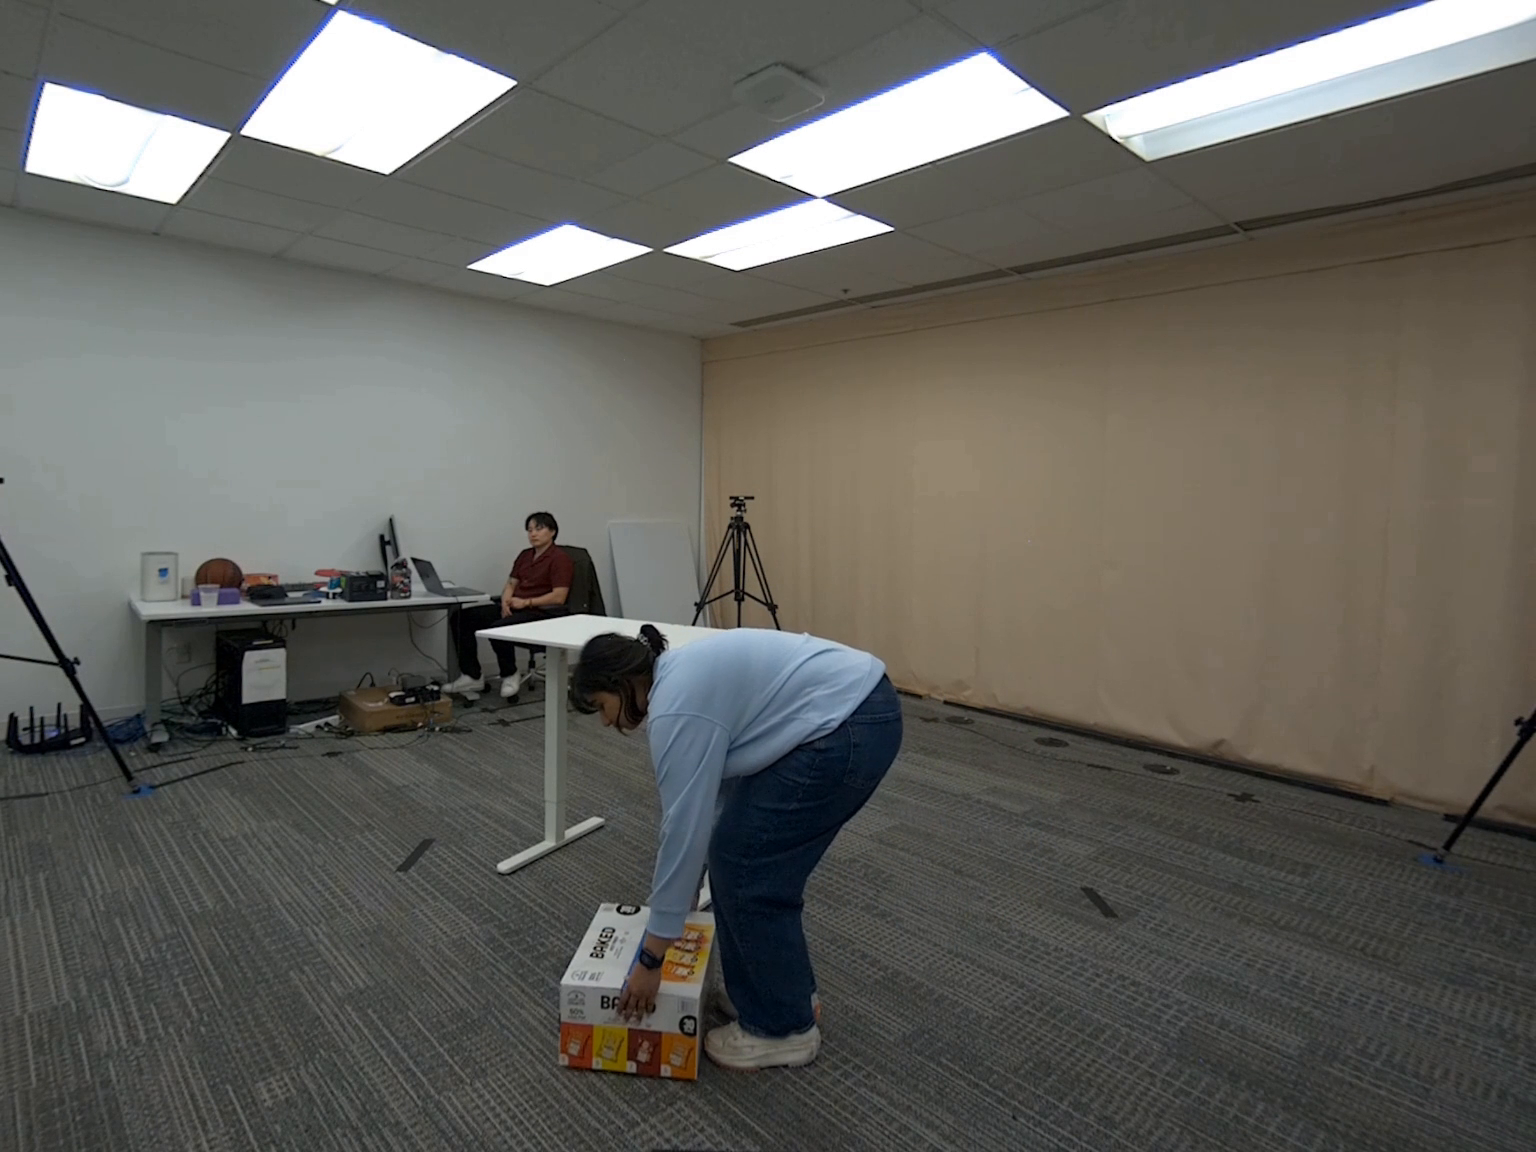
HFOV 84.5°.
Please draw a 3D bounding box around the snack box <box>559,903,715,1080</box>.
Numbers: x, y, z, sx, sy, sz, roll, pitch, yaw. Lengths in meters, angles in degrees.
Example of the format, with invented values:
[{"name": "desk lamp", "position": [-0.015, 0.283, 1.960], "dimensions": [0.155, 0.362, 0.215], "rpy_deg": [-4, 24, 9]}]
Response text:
[{"name": "snack box", "position": [-0.327, 1.060, 2.210], "dimensions": [0.342, 0.205, 0.405], "rpy_deg": [4, 6, 4]}]
